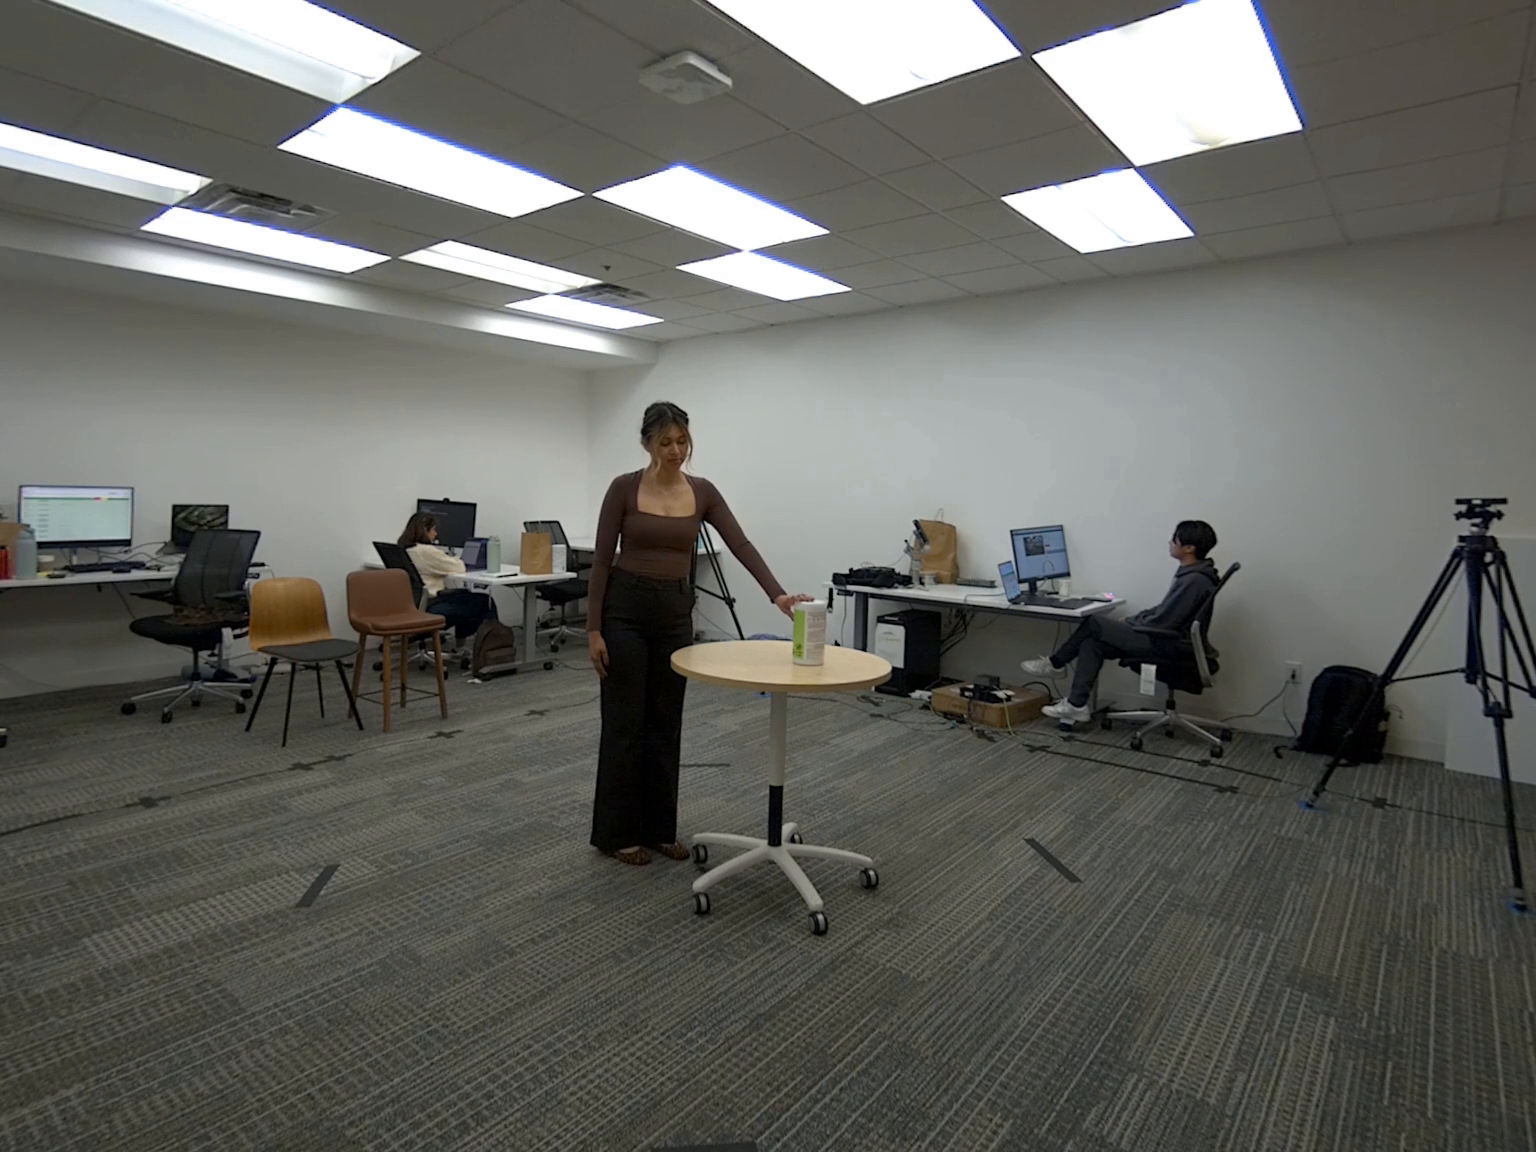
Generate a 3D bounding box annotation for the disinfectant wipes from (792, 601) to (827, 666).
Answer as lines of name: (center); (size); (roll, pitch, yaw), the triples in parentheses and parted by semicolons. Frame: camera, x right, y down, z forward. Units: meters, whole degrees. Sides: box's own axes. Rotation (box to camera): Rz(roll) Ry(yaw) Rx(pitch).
disinfectant wipes: (0.135, 0.190, 2.928); (0.118, 0.217, 0.118); (0, 3, -2)
